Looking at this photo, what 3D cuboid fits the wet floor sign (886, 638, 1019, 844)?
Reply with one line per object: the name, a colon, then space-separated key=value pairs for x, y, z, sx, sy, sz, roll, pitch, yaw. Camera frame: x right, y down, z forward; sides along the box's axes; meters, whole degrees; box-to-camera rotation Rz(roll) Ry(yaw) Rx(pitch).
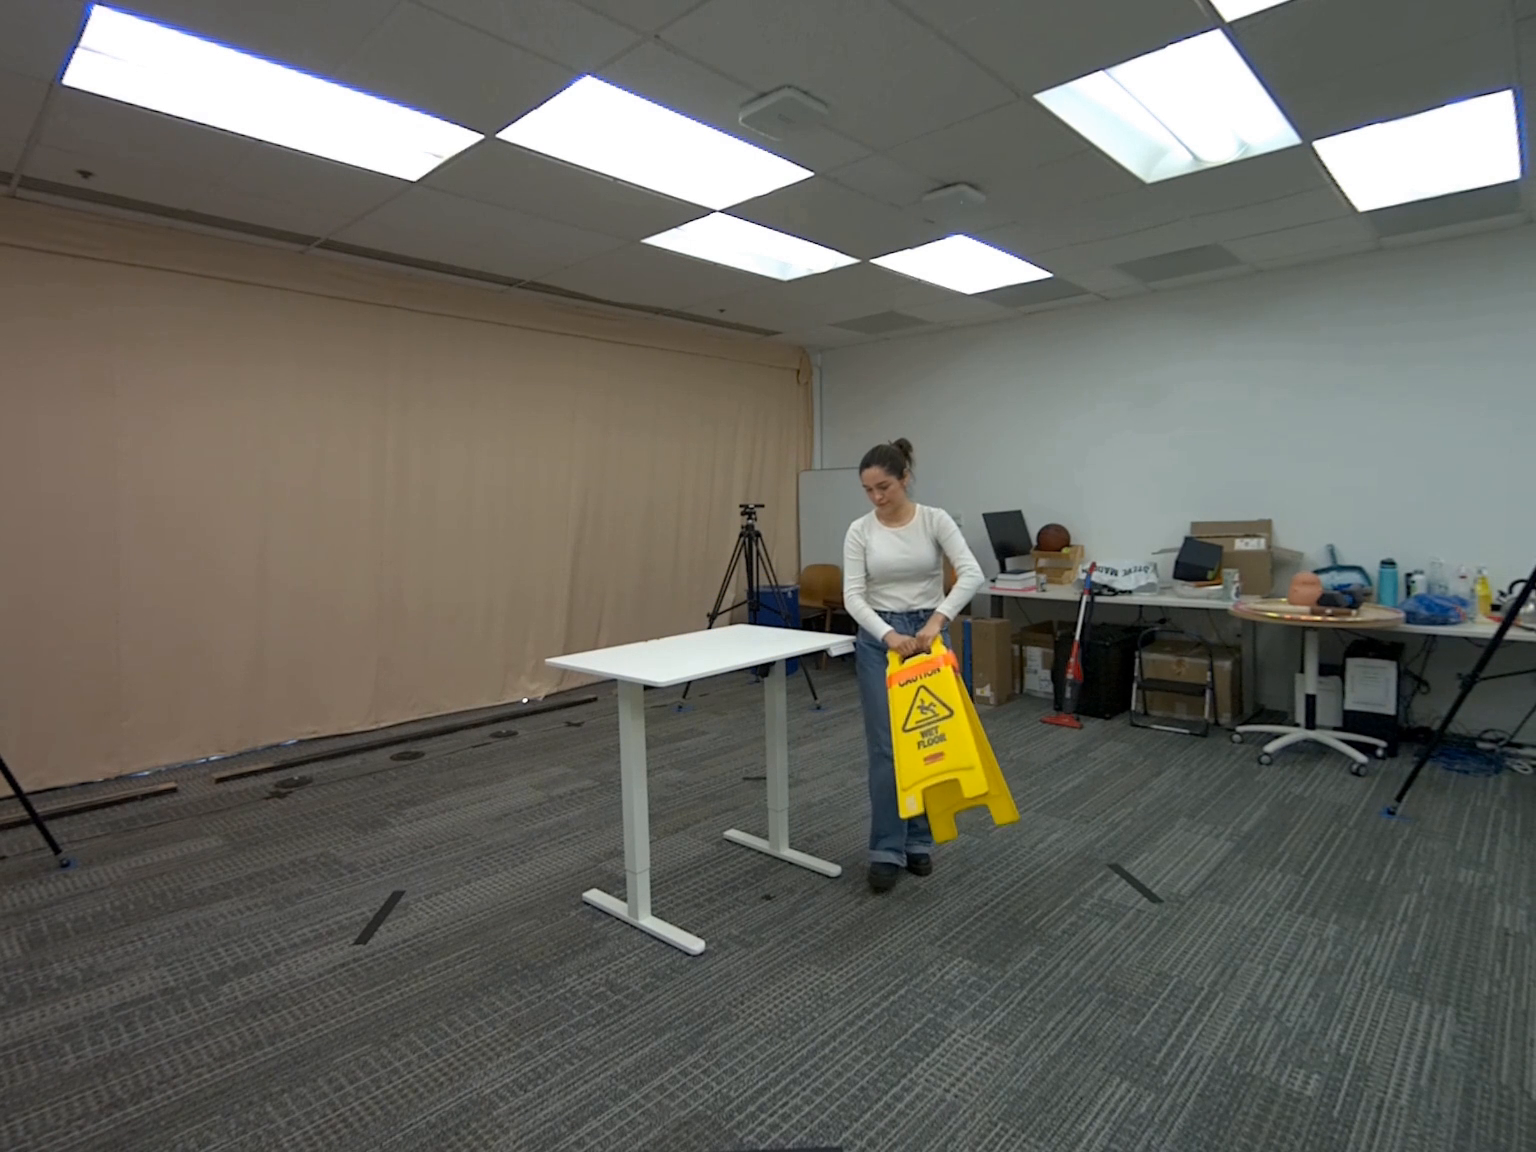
wet floor sign: x=0.543 y=0.476 z=2.740 sx=0.286 sy=0.660 sz=0.279 roll=-25 pitch=-42 yaw=22
